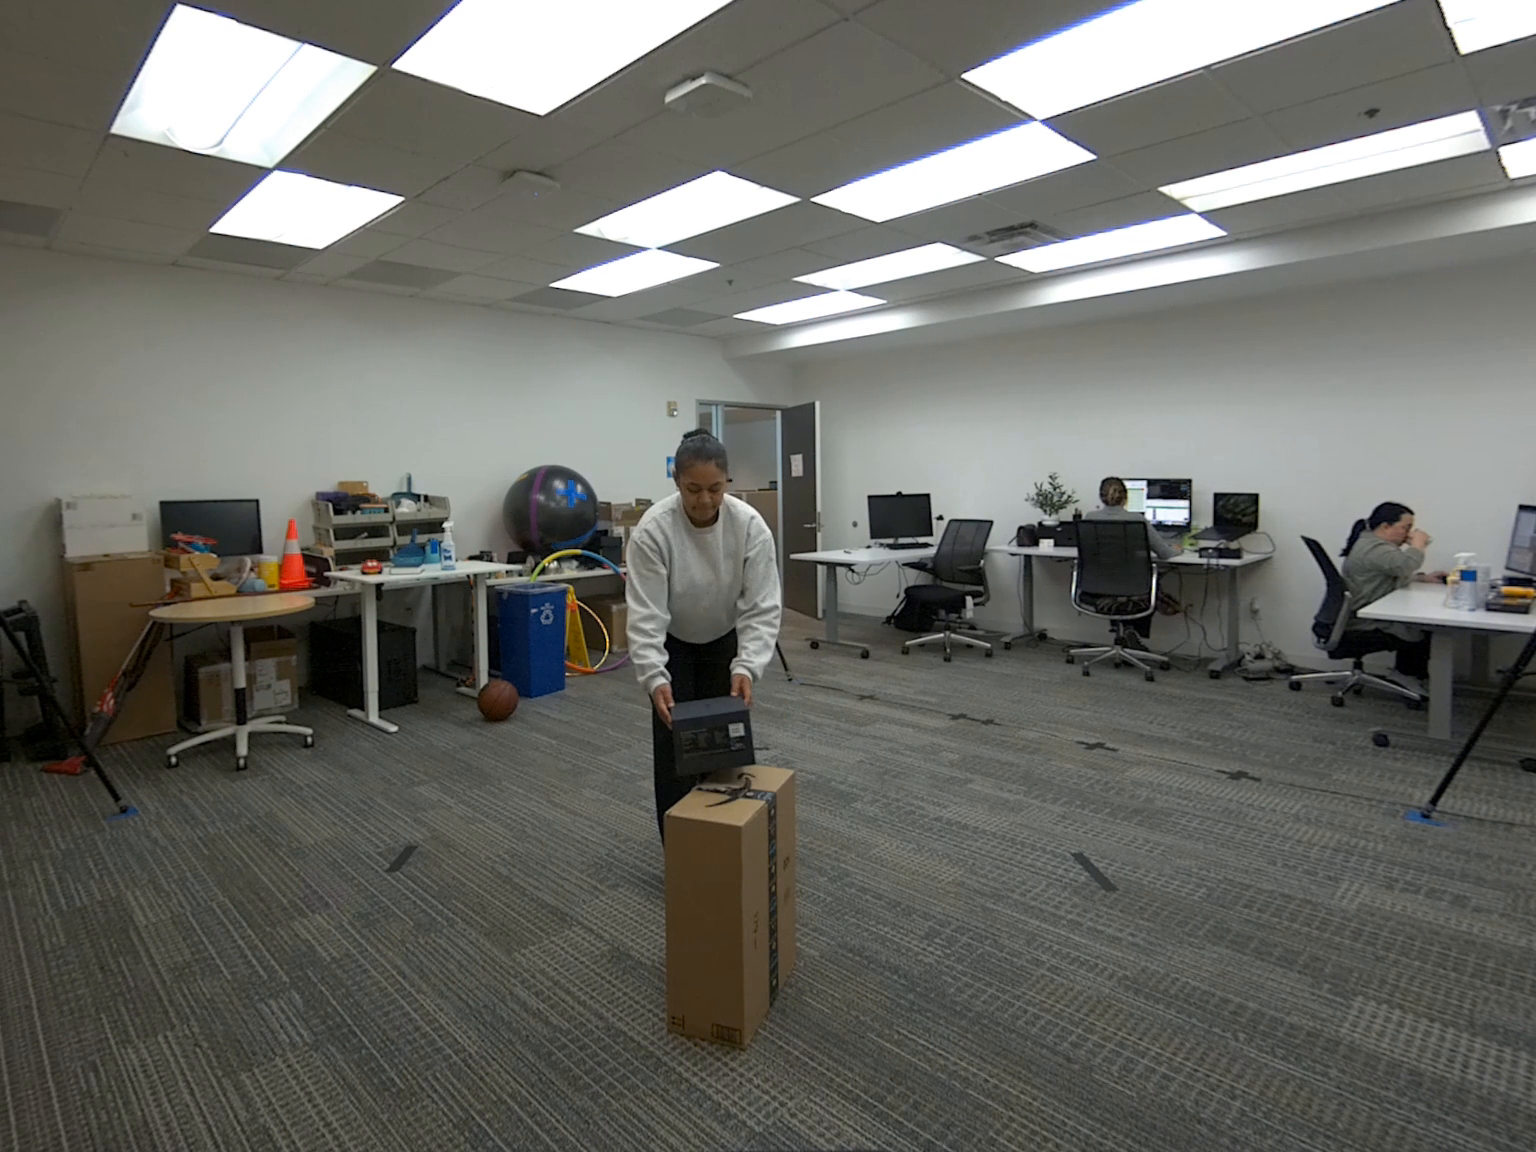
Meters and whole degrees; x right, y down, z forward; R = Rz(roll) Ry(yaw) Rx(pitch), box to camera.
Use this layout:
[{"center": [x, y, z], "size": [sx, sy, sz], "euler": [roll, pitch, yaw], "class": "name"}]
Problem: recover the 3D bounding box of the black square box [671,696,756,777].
[{"center": [-0.173, 0.460, 2.436], "size": [0.216, 0.156, 0.229], "euler": [-7, 3, -7], "class": "black square box"}]
